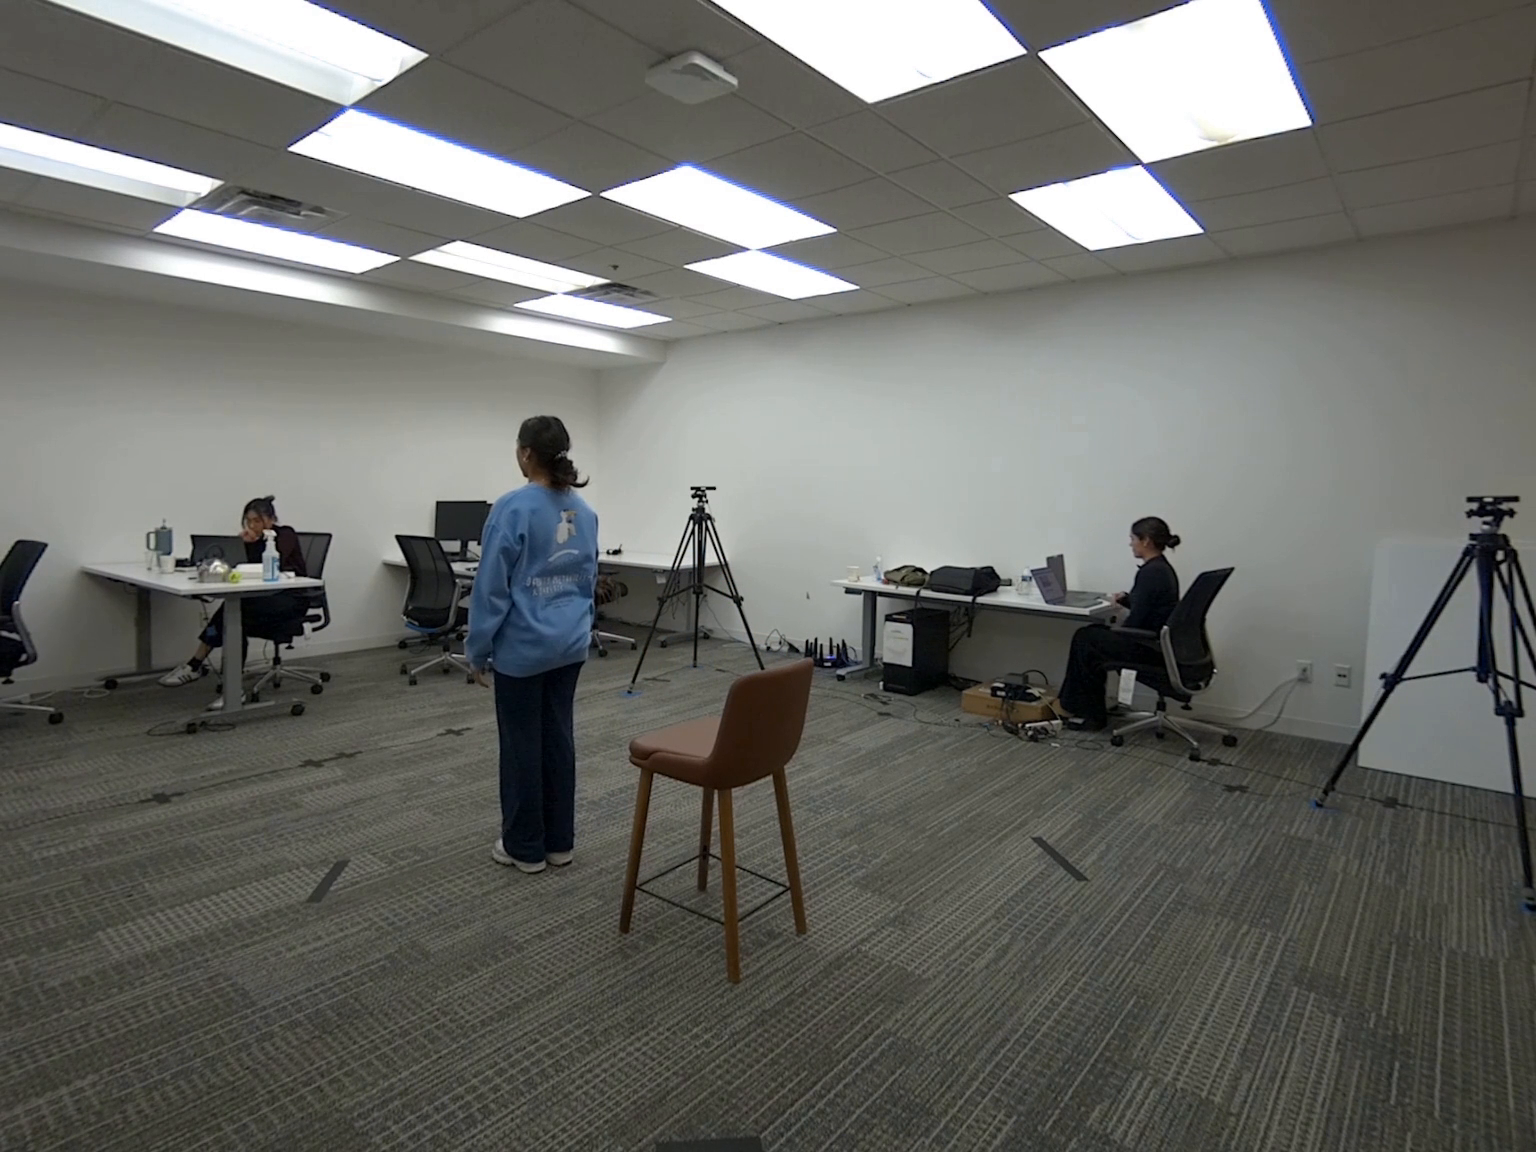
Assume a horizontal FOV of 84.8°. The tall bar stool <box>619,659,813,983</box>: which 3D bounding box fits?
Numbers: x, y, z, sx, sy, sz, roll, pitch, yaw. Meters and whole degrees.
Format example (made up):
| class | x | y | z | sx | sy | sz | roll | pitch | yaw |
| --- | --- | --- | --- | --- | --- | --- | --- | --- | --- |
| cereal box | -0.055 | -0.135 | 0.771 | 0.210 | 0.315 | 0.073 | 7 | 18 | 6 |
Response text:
| class | x | y | z | sx | sy | sz | roll | pitch | yaw |
| --- | --- | --- | --- | --- | --- | --- | --- | --- | --- |
| tall bar stool | -0.159 | 0.675 | 2.636 | 0.483 | 0.886 | 0.443 | 6 | 6 | 37 |
